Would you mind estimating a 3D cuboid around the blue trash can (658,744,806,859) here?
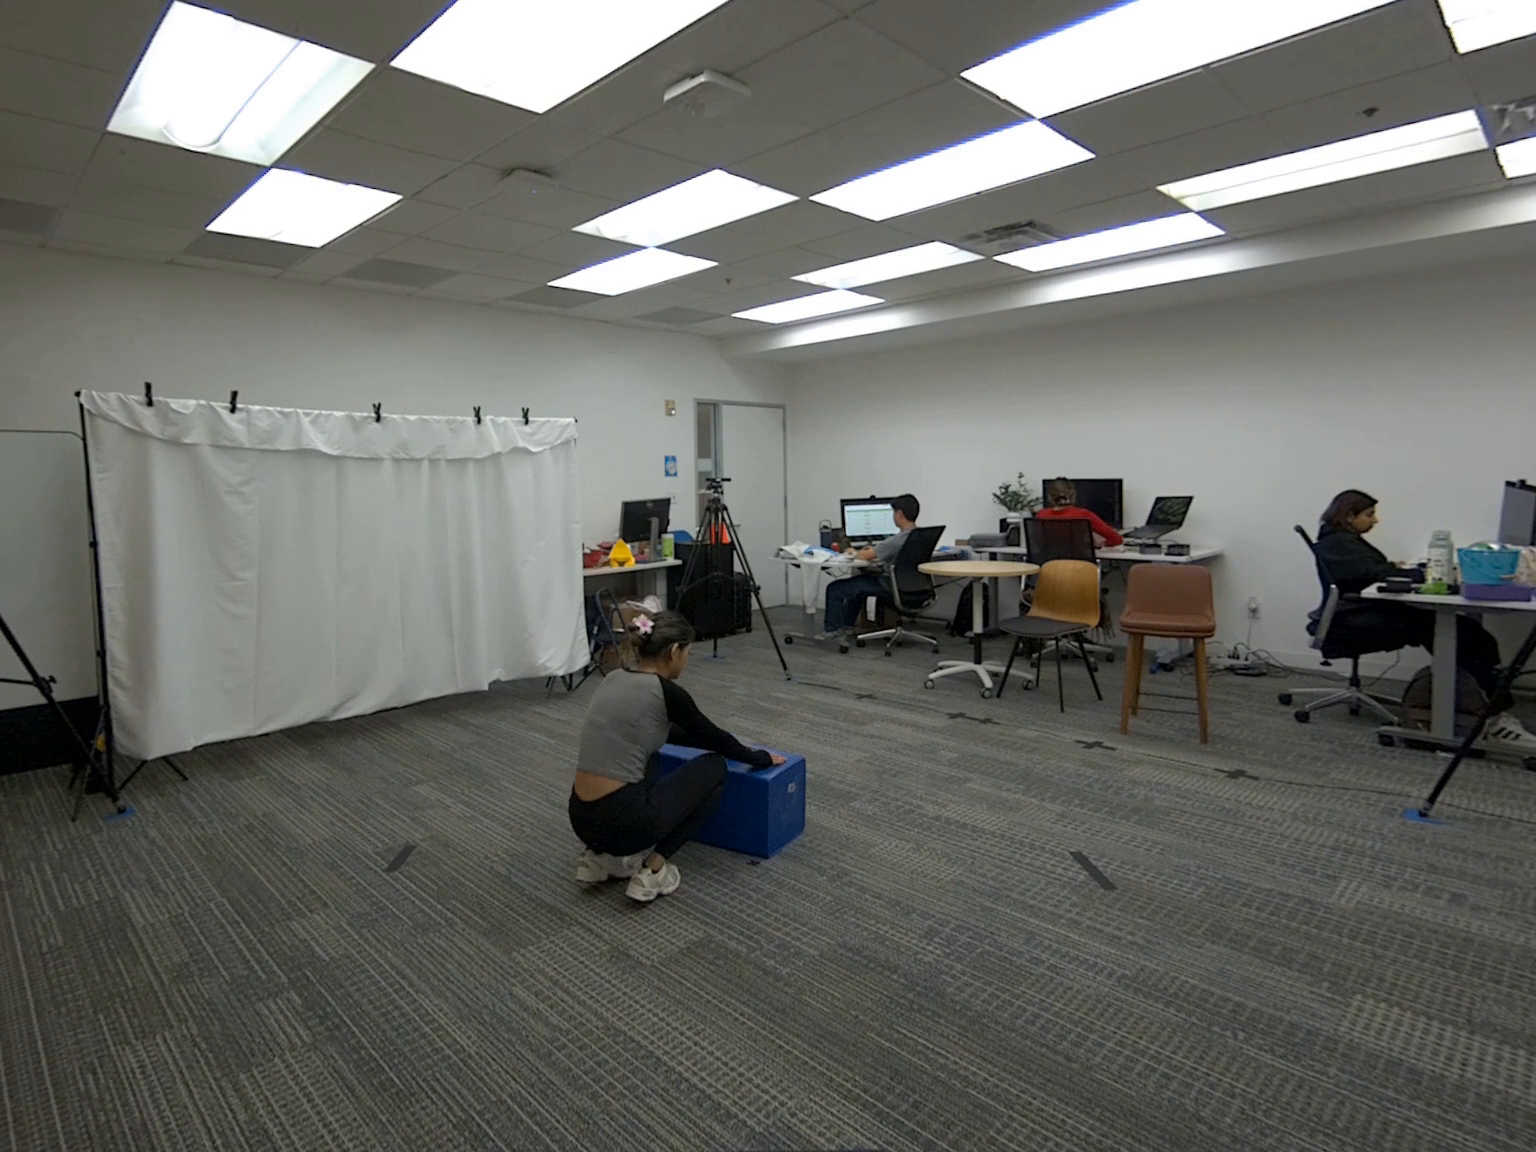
[{"bbox_3d":[-0.236,0.840,3.423,0.734,0.376,0.365,5,6,31],"label":"blue trash can"}]
